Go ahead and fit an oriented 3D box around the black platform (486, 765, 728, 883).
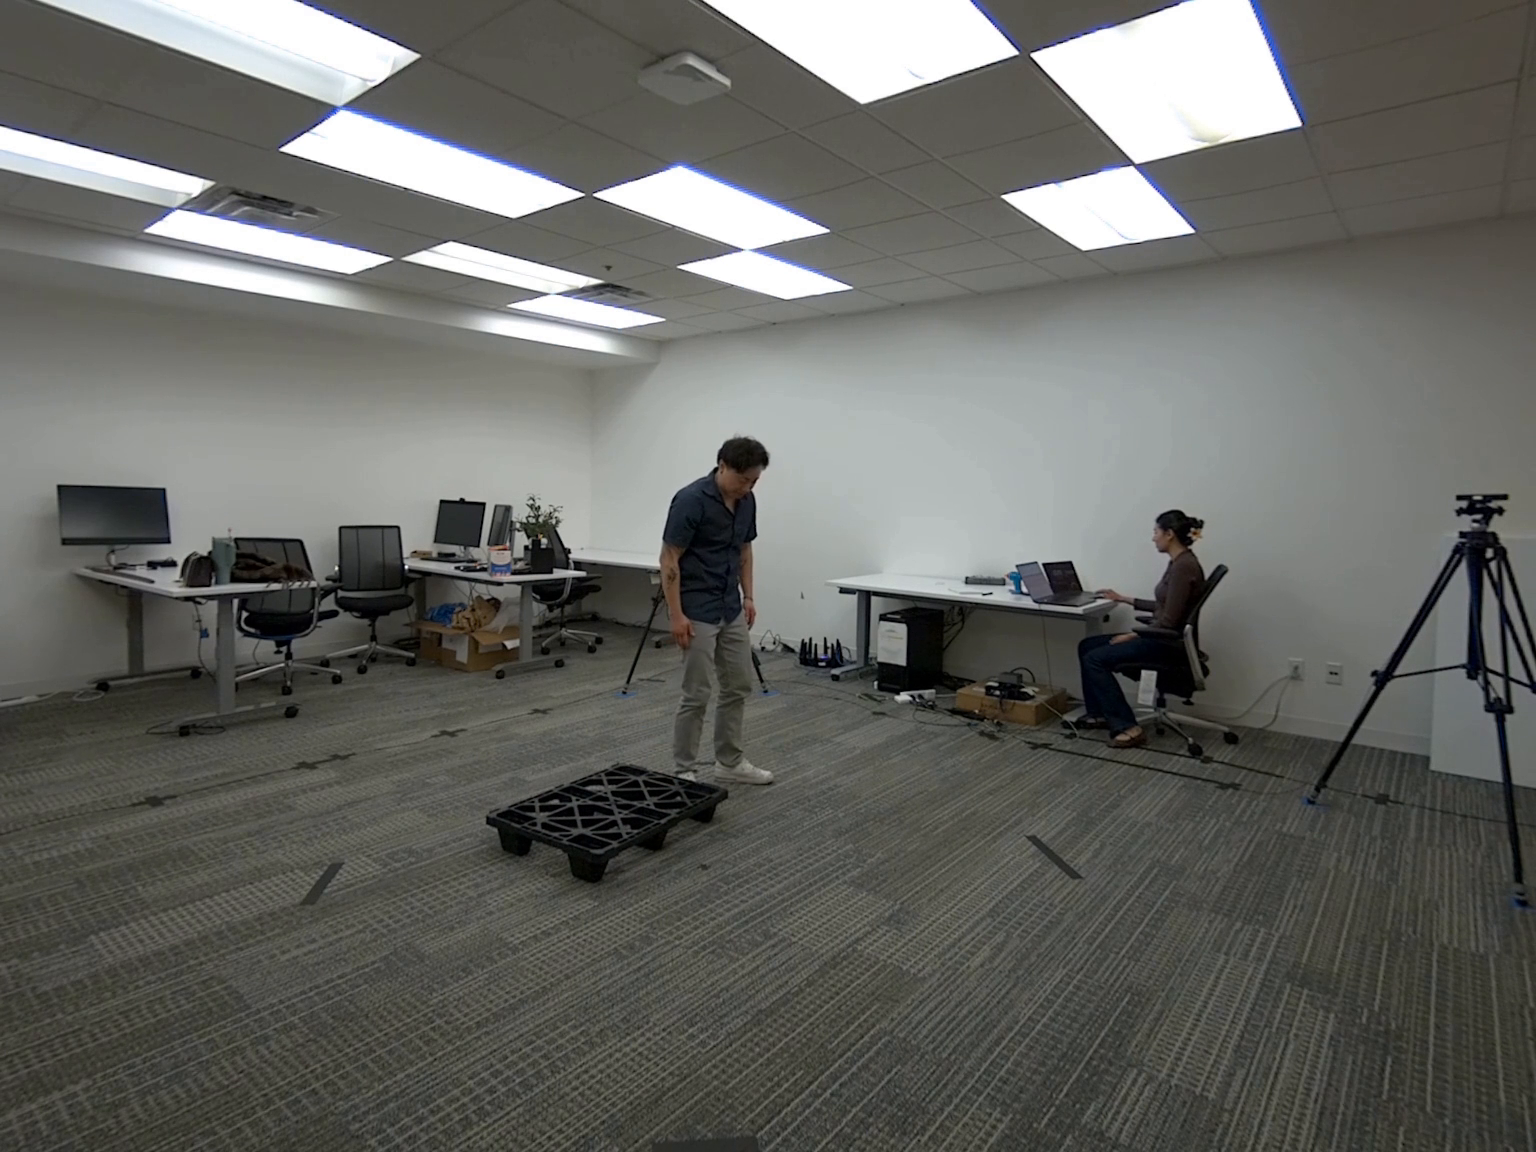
[{"bbox_3d":[-0.637,0.966,3.397,0.624,0.143,0.784,3,6,33],"label":"black platform"}]
